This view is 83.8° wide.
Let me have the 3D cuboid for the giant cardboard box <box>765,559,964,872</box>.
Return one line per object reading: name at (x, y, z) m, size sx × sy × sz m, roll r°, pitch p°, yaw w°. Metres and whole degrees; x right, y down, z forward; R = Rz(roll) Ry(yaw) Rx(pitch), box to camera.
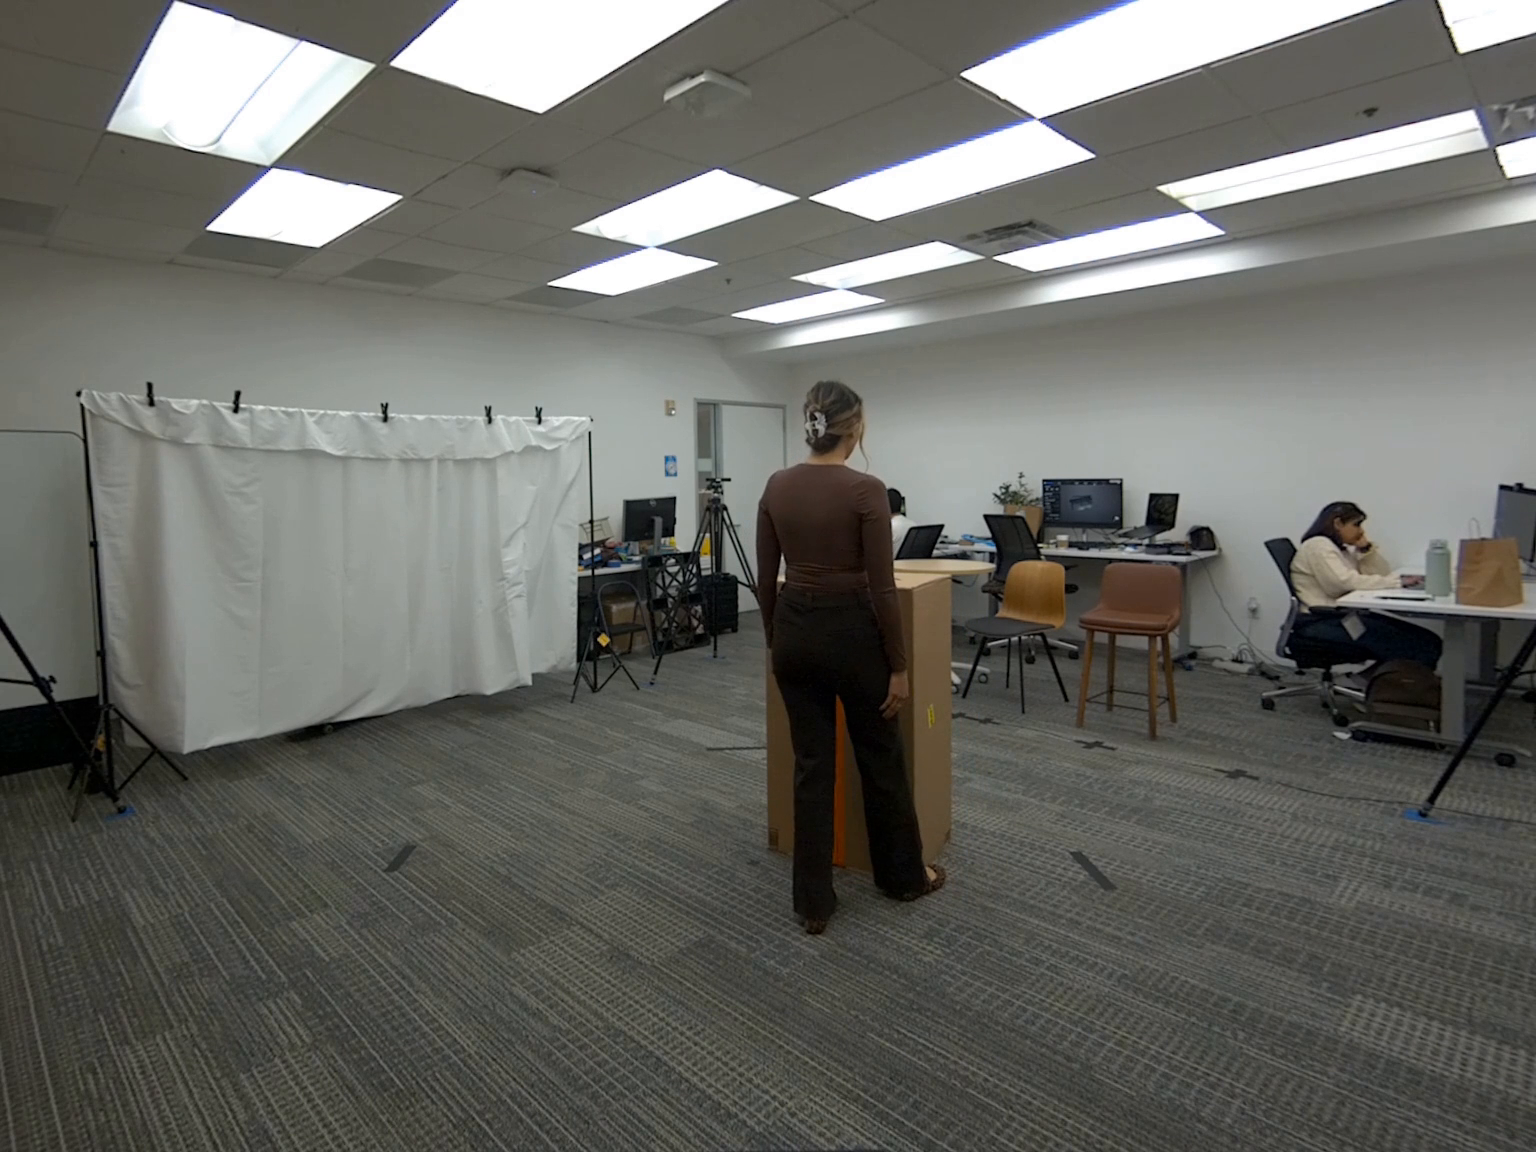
giant cardboard box at (0.343, 0.514, 3.211) m, size 0.600 × 1.023 × 0.437 m, roll 2°, pitch 5°, yaw 32°
